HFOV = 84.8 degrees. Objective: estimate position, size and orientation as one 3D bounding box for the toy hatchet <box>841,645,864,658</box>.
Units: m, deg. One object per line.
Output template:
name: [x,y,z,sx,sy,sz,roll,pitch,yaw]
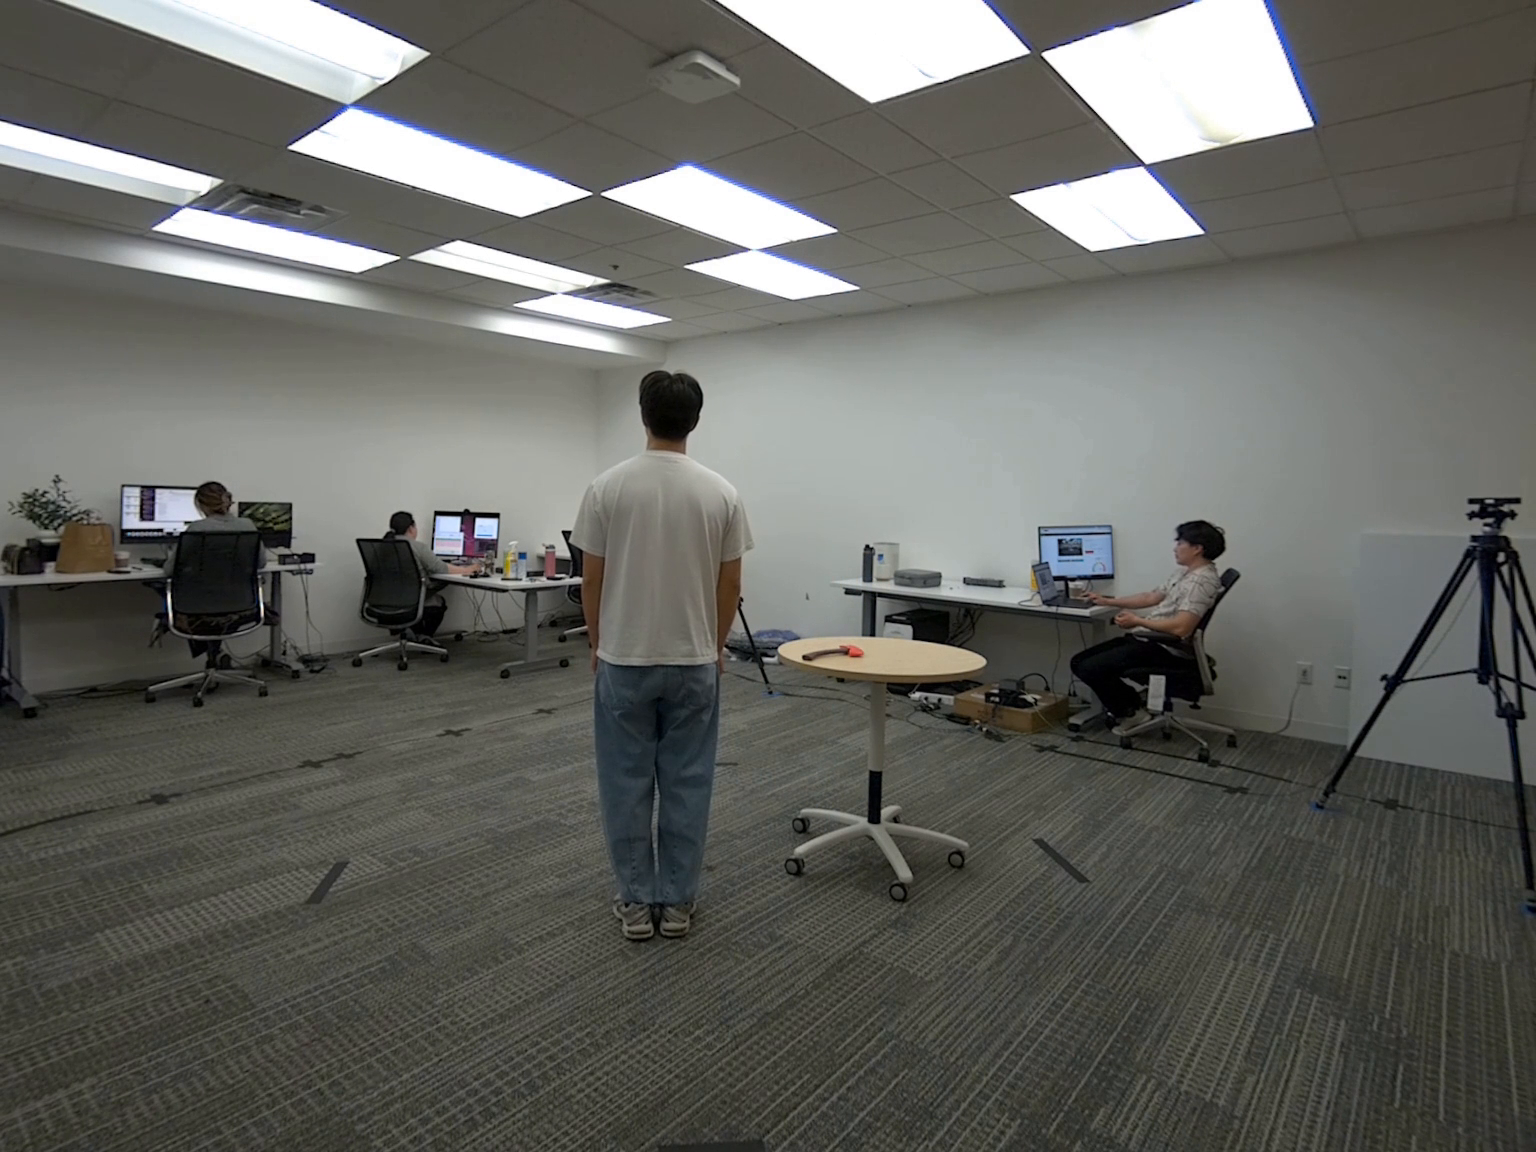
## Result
toy hatchet: [0.244,0.282,3.092,0.136,0.029,0.262,10,11,38]
